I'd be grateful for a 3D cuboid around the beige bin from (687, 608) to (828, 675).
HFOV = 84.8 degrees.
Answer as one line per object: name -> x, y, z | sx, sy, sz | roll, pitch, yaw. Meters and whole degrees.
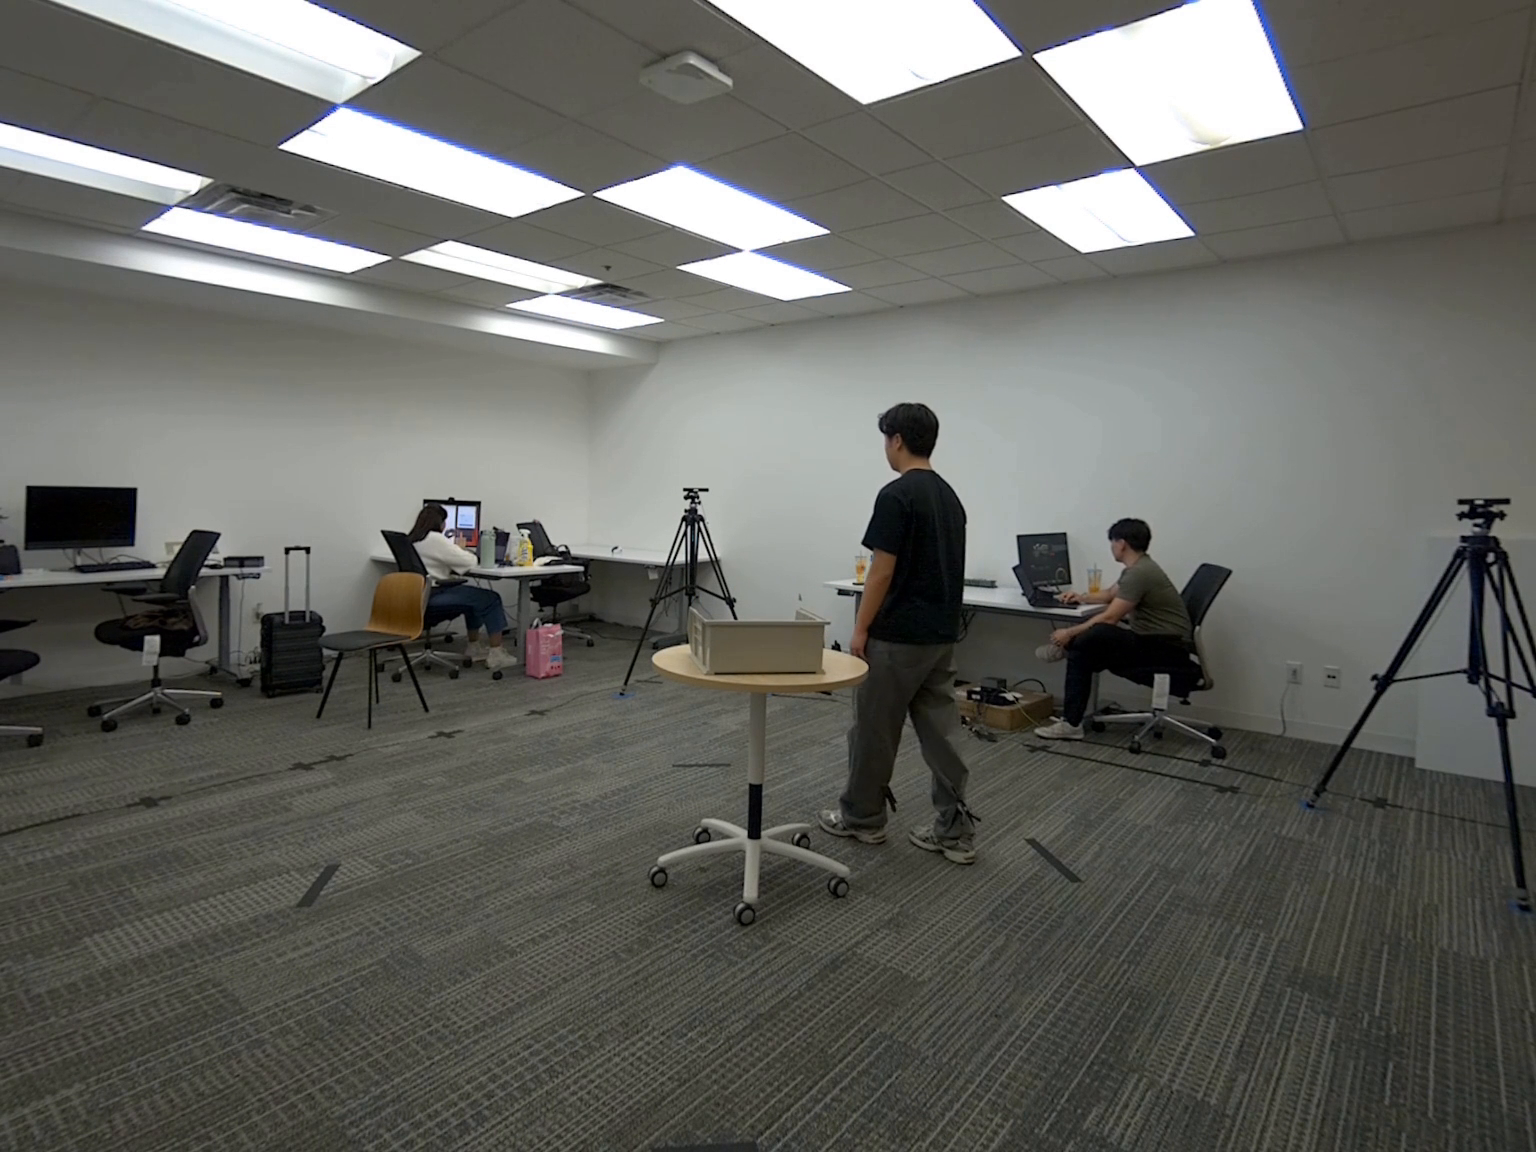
beige bin -> -0.058, 0.213, 2.964 | 0.417, 0.188, 0.384 | 1, 6, -12
